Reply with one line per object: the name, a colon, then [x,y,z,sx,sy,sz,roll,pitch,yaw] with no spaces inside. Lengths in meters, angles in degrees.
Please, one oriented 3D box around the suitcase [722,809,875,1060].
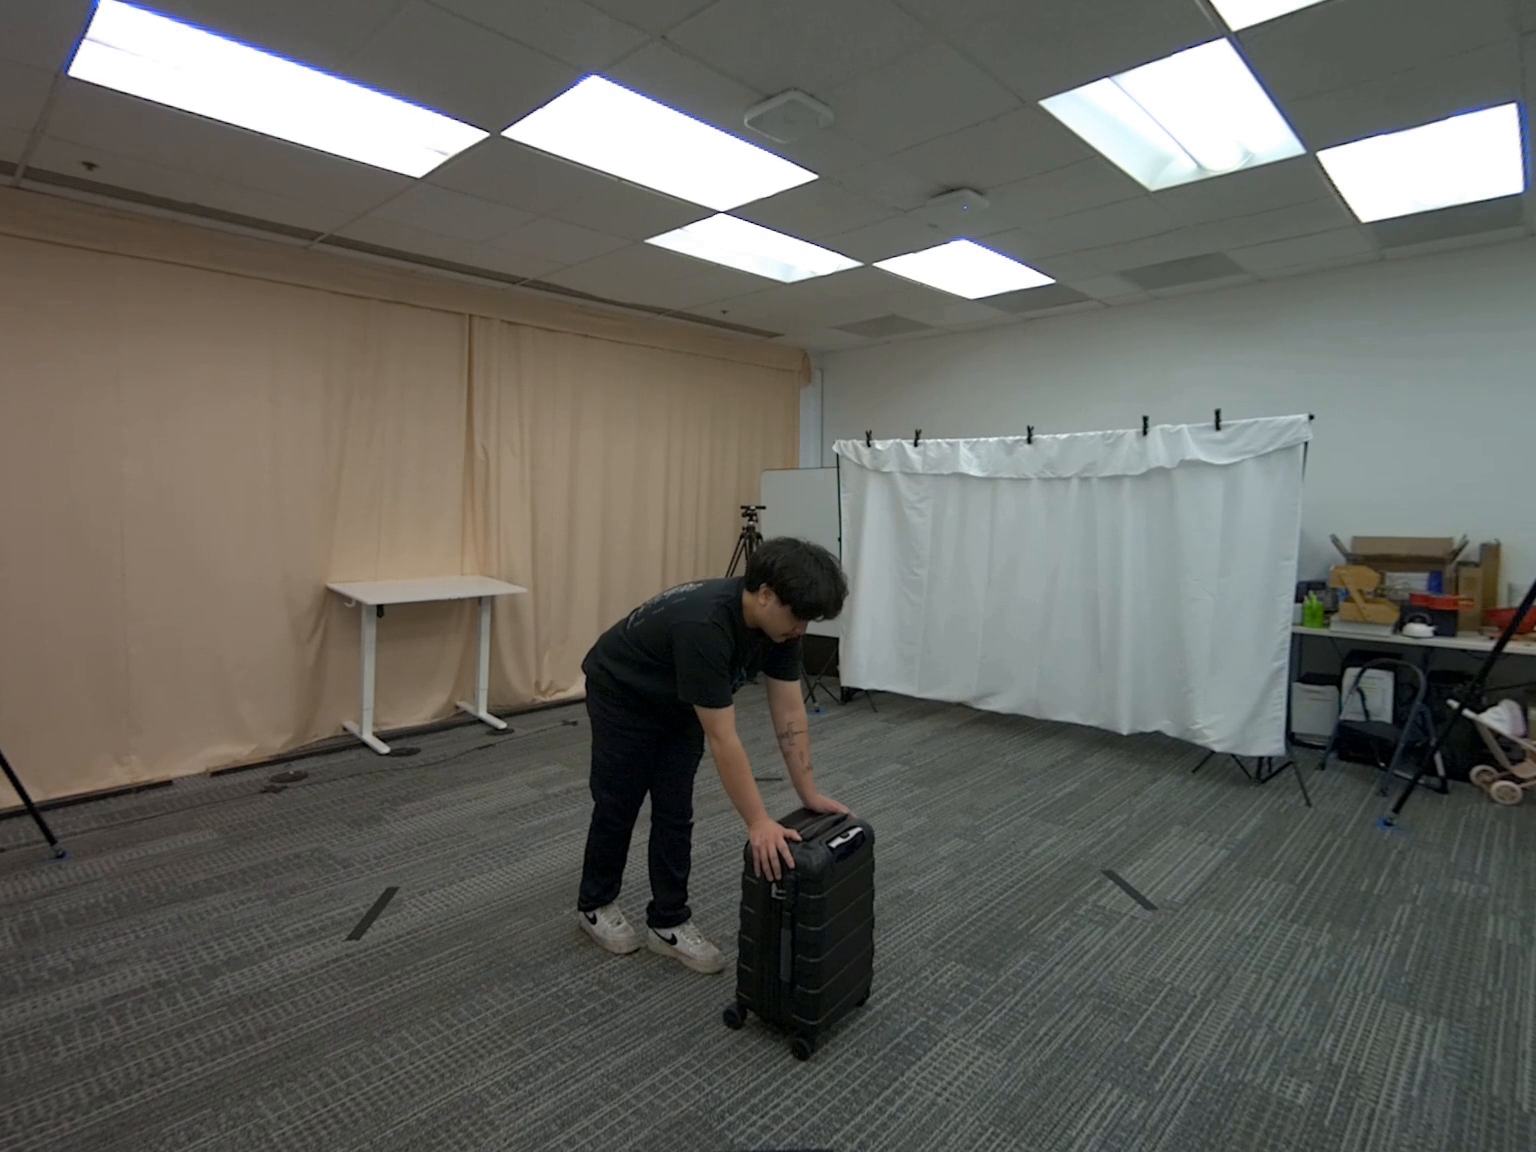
suitcase: [0.113,0.934,2.271,0.256,0.548,0.364,6,6,36]
